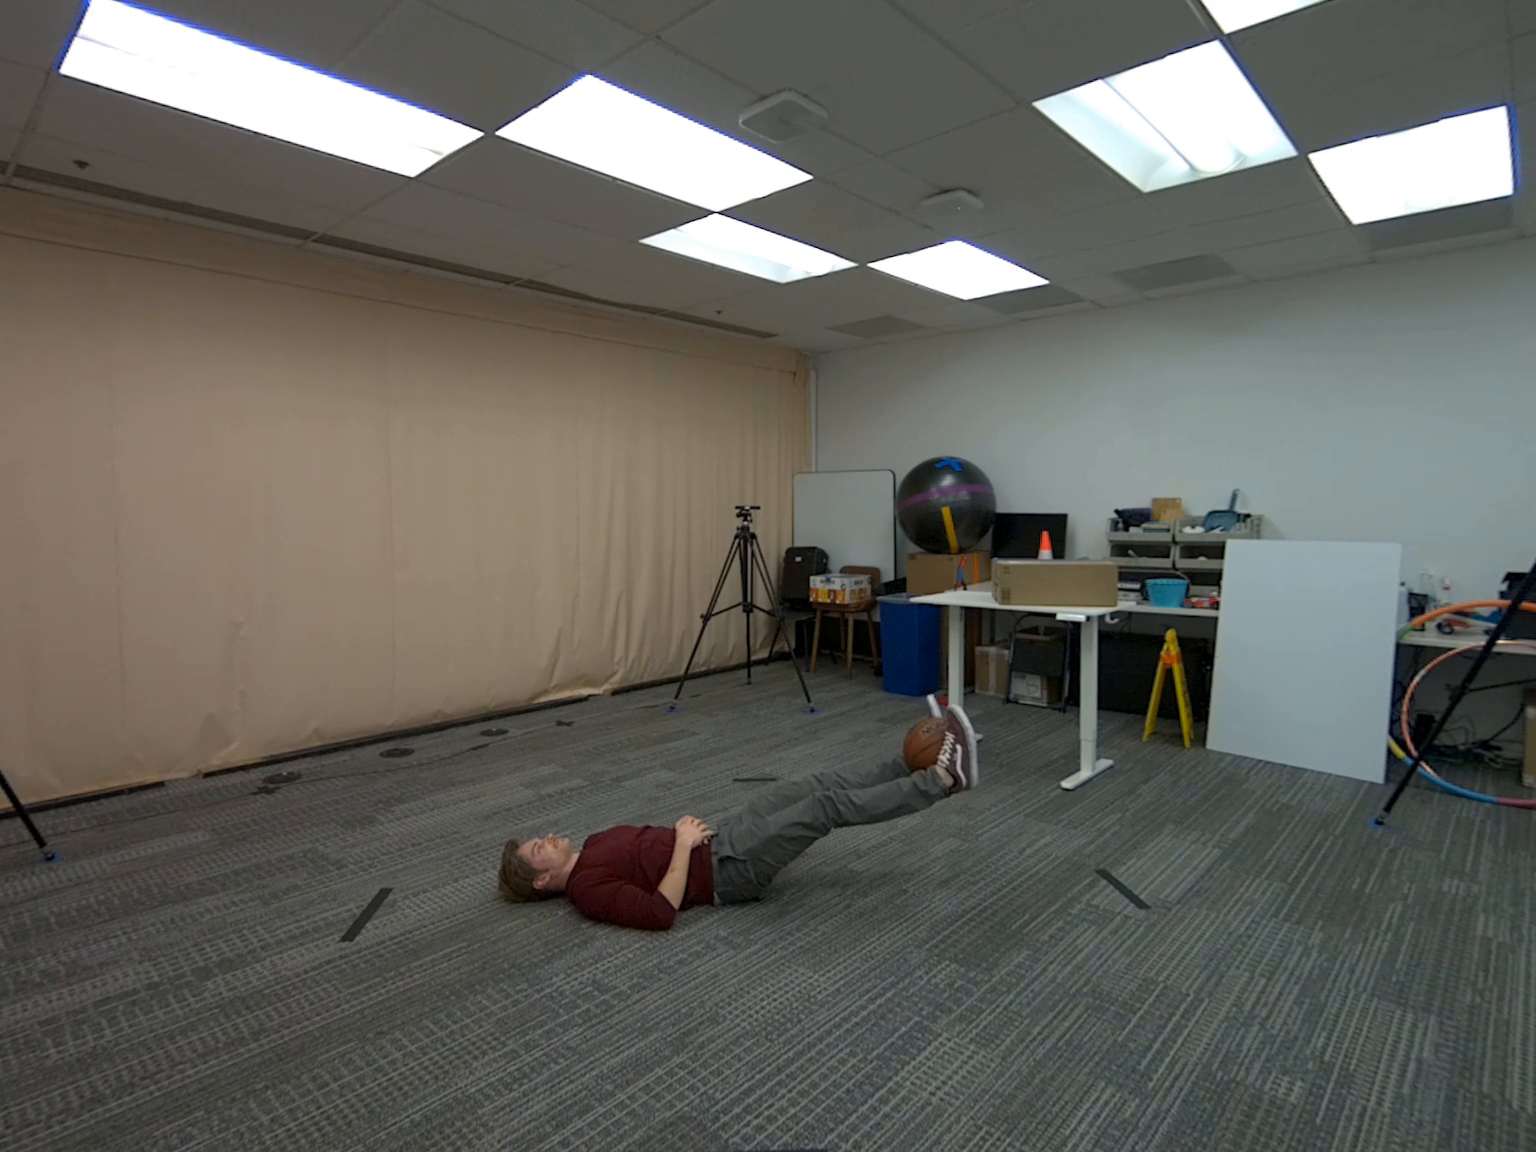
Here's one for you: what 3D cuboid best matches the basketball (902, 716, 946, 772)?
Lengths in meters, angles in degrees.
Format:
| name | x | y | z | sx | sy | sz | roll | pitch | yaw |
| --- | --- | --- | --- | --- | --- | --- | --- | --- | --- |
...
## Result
| name | x | y | z | sx | sy | sz | roll | pitch | yaw |
| --- | --- | --- | --- | --- | --- | --- | --- | --- | --- |
| basketball | 0.606 | 0.627 | 3.008 | 0.235 | 0.235 | 0.237 | 3 | 5 | -2 |
